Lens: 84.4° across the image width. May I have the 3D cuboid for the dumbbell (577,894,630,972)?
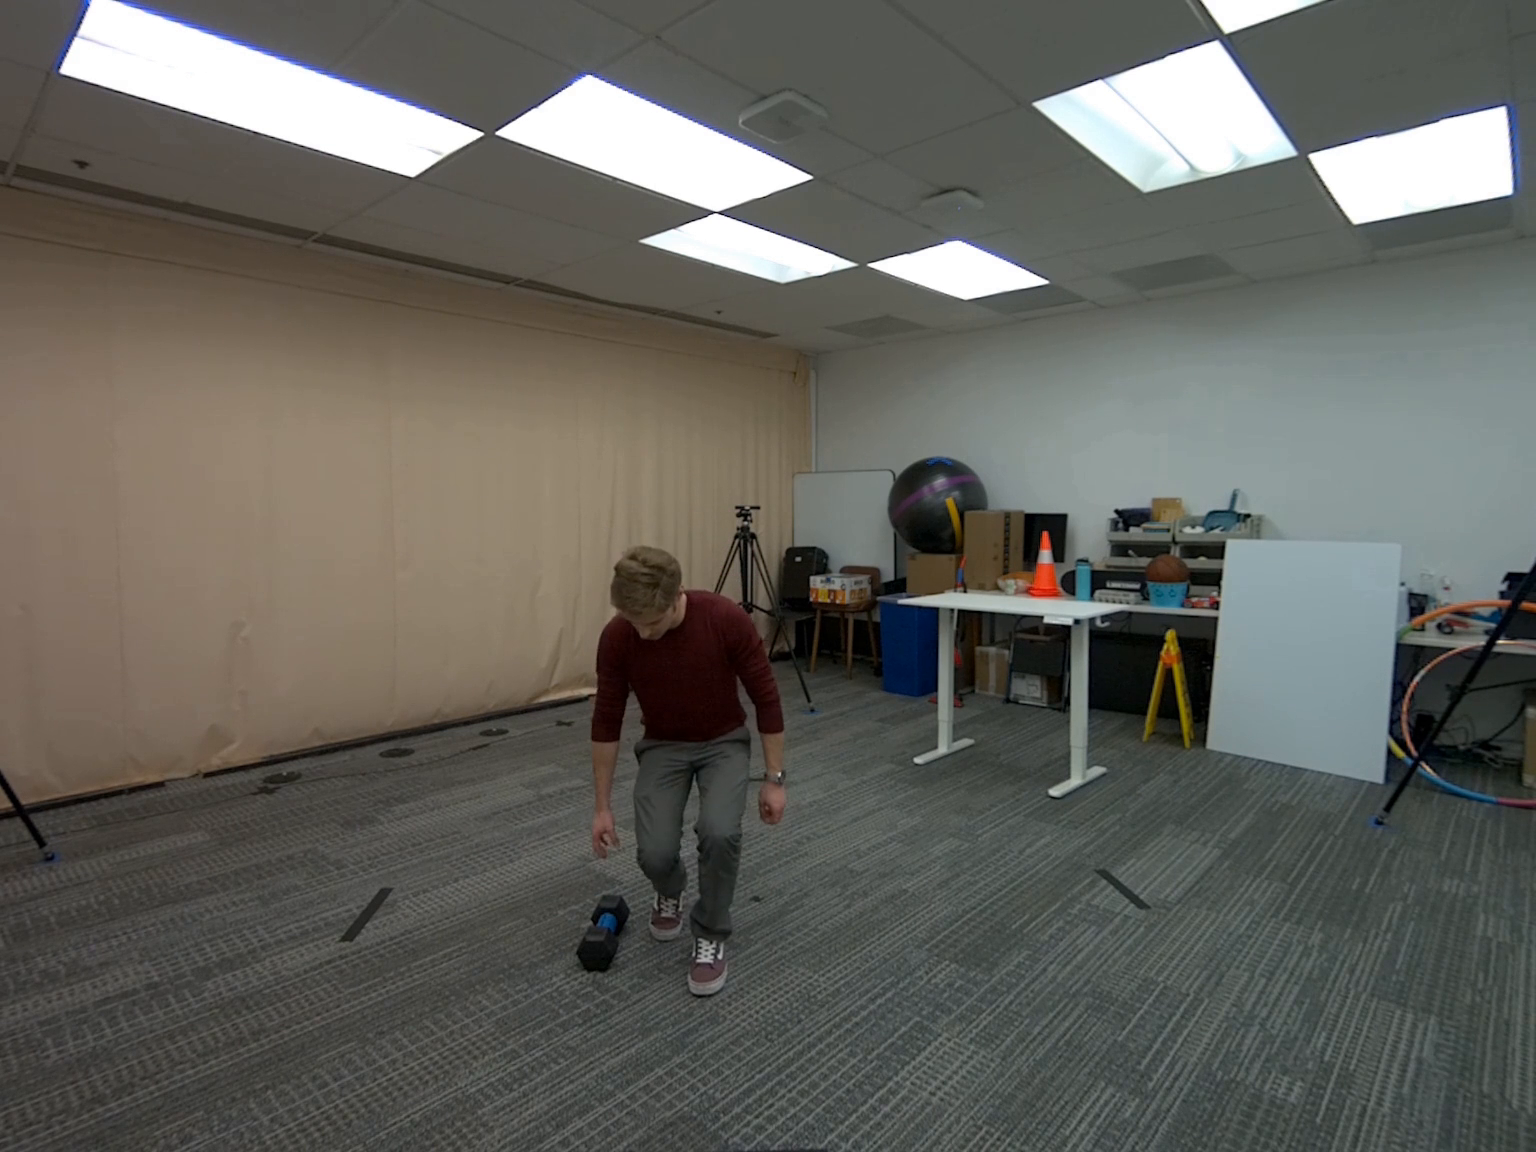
[{"bbox_3d":[-0.515,1.127,2.654,0.109,0.123,0.294,30,3,-2],"label":"dumbbell"}]
